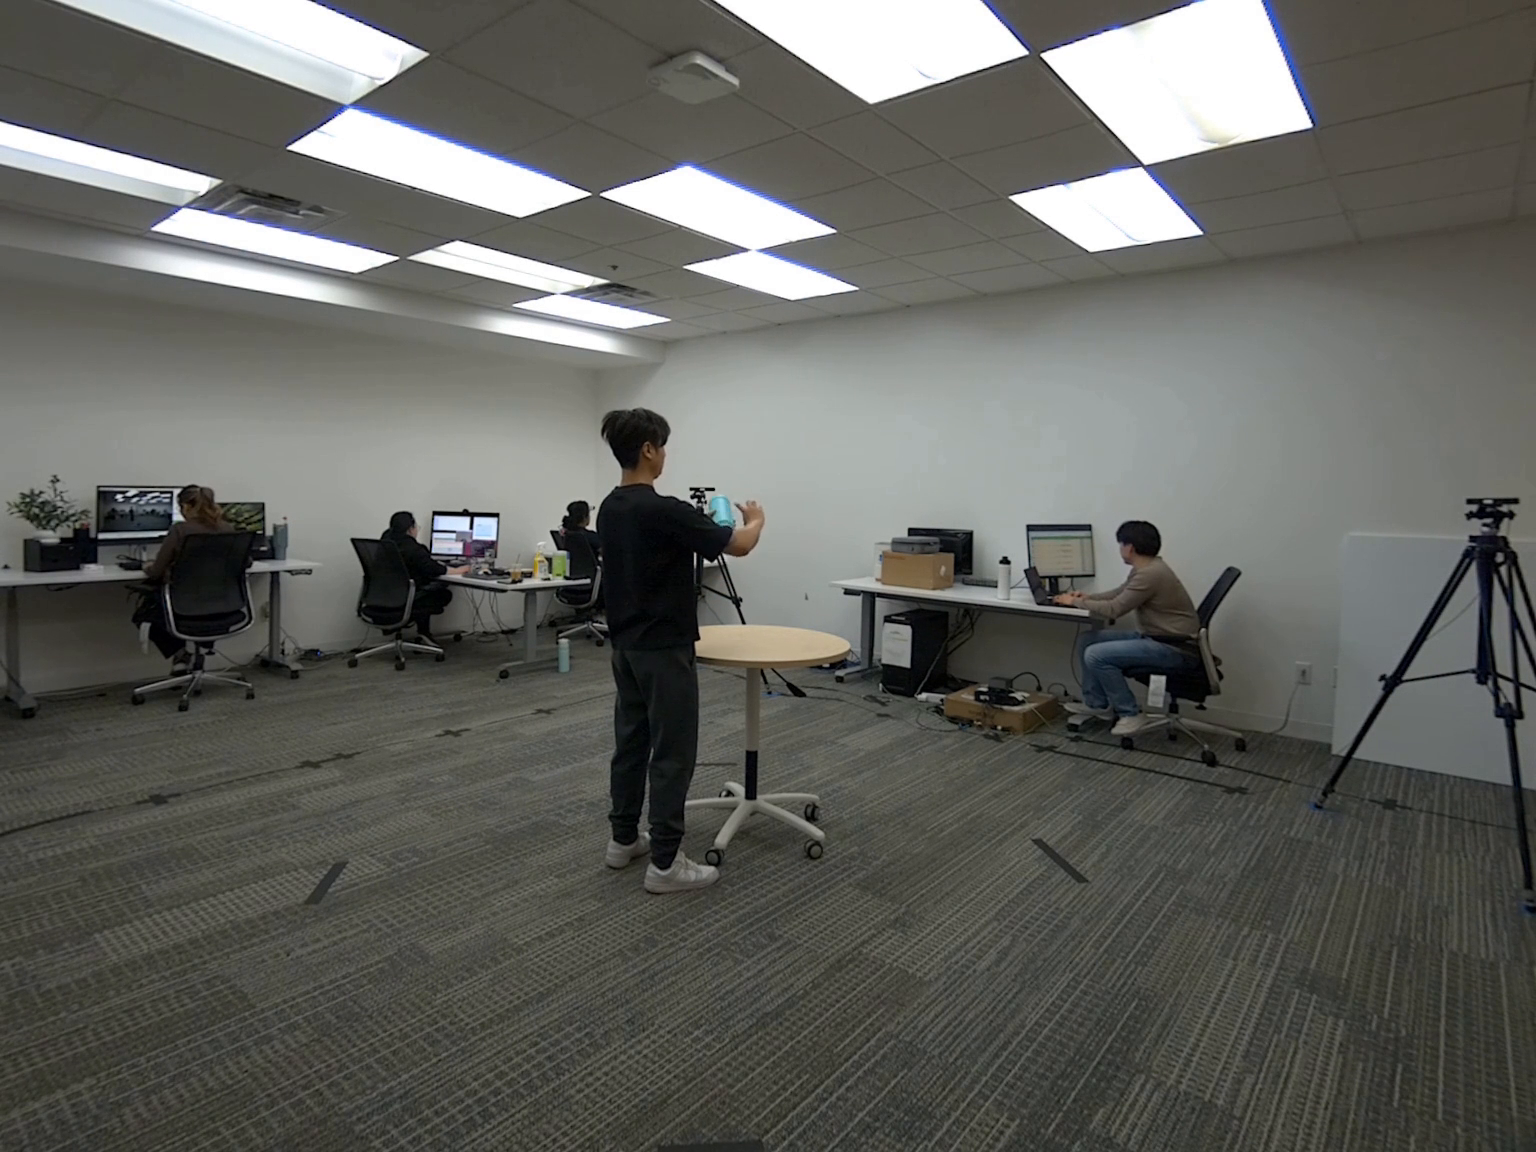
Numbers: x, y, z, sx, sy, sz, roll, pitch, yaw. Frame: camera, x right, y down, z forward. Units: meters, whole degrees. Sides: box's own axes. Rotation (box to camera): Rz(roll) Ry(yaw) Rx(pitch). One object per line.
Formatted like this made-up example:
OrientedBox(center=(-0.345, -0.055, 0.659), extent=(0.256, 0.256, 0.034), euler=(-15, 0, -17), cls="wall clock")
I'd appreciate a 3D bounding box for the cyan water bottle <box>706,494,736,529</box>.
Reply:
OrientedBox(center=(-0.197, -0.230, 3.396), extent=(0.091, 0.090, 0.292), euler=(0, 31, -10), cls="cyan water bottle")
